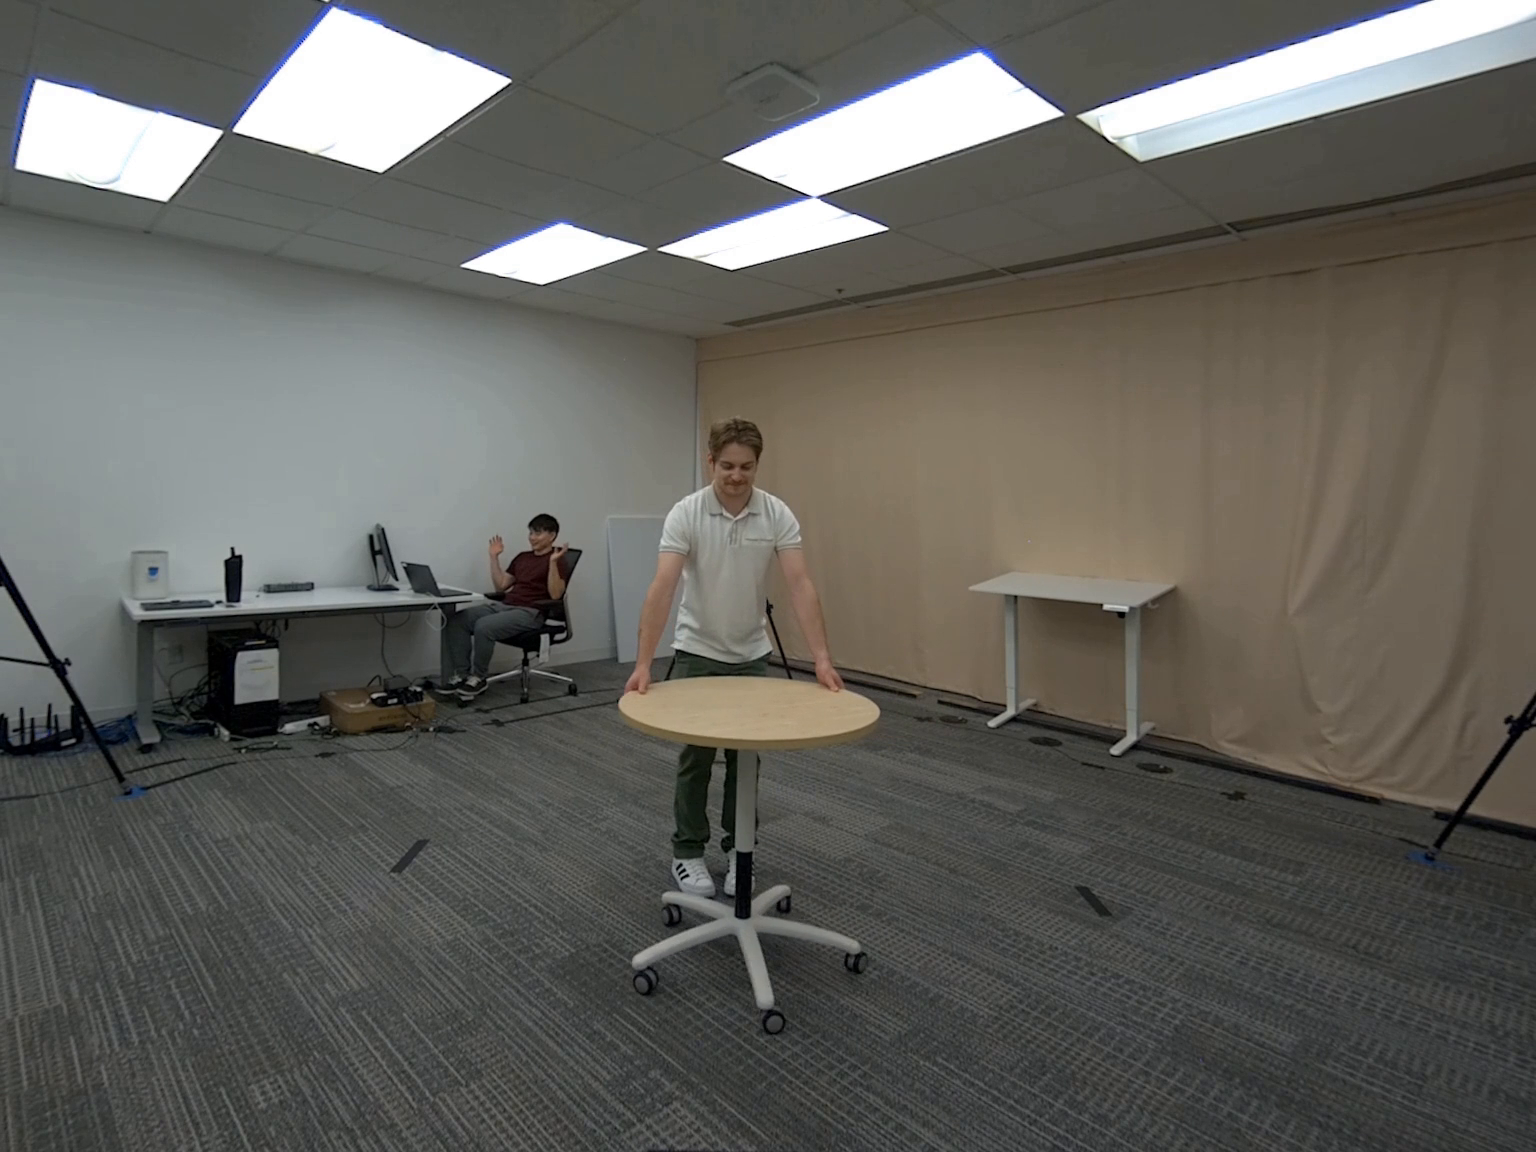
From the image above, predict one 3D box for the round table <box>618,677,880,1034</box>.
[{"bbox_3d":[-0.074,0.771,2.508,0.763,0.792,0.766,2,4,-1],"label":"round table"}]
